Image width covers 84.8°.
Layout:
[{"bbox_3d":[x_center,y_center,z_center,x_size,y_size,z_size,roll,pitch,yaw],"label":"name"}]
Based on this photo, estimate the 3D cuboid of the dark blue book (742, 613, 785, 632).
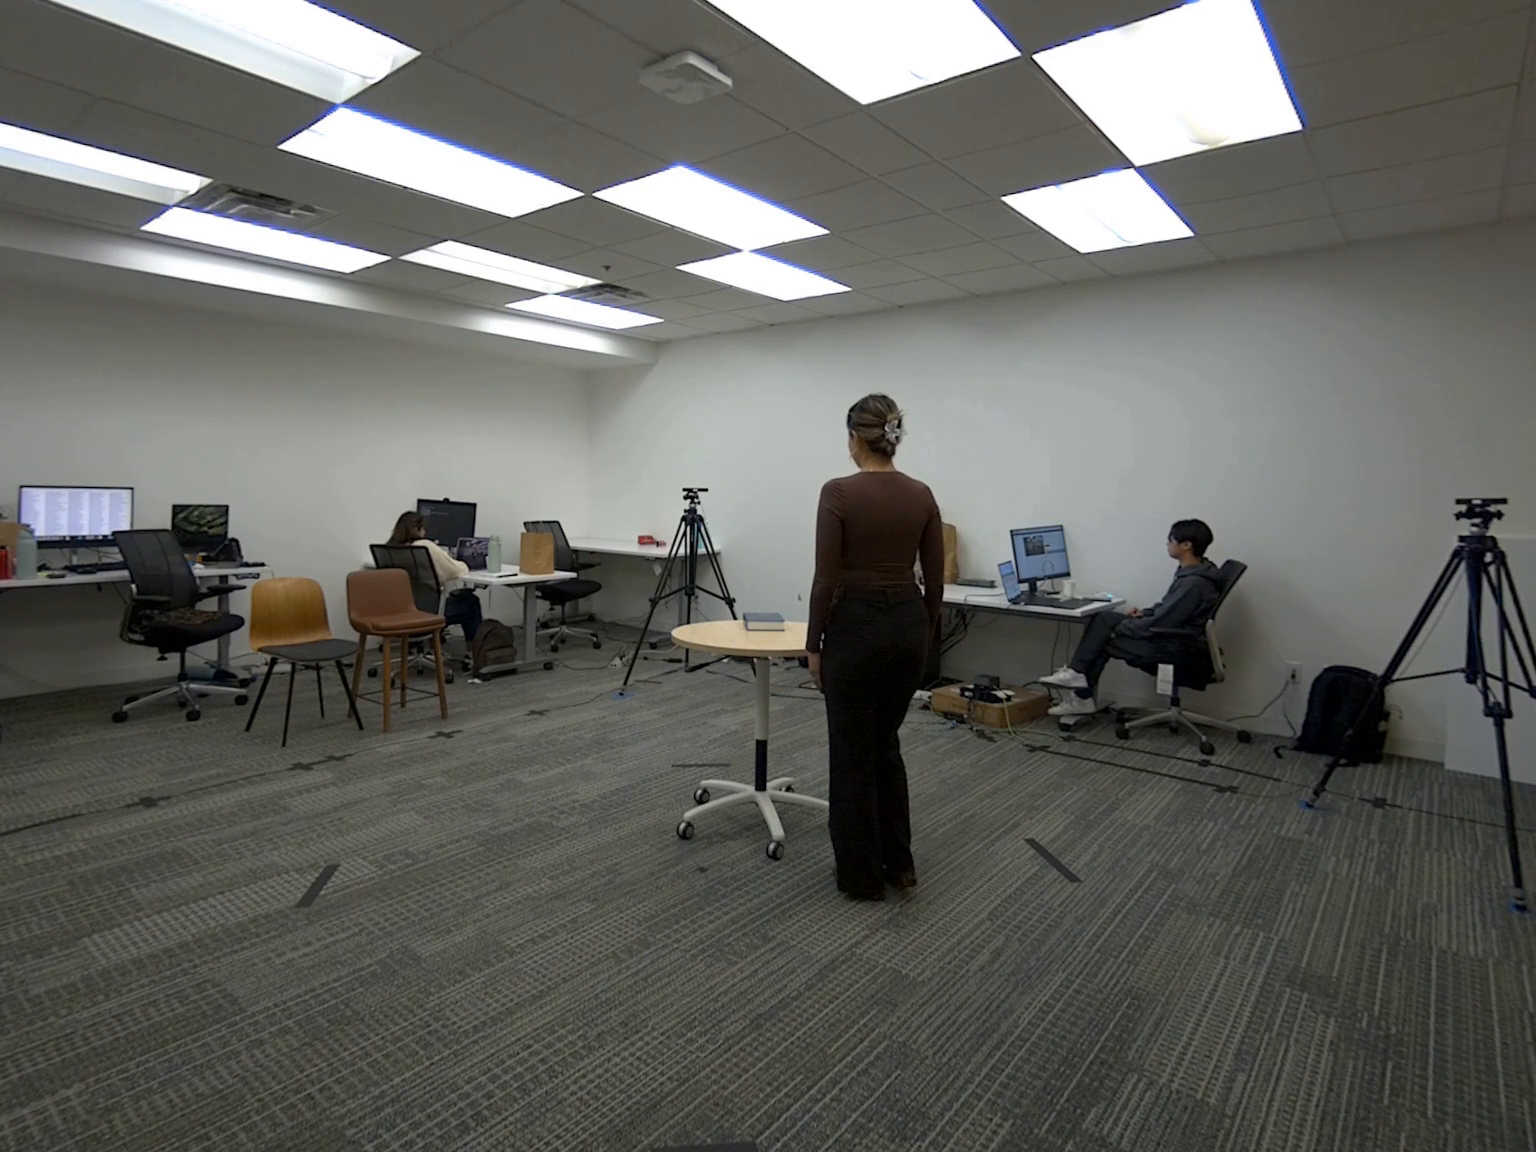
[{"bbox_3d":[-0.034,0.193,3.726,0.163,0.045,0.247,1,6,-5],"label":"dark blue book"}]
